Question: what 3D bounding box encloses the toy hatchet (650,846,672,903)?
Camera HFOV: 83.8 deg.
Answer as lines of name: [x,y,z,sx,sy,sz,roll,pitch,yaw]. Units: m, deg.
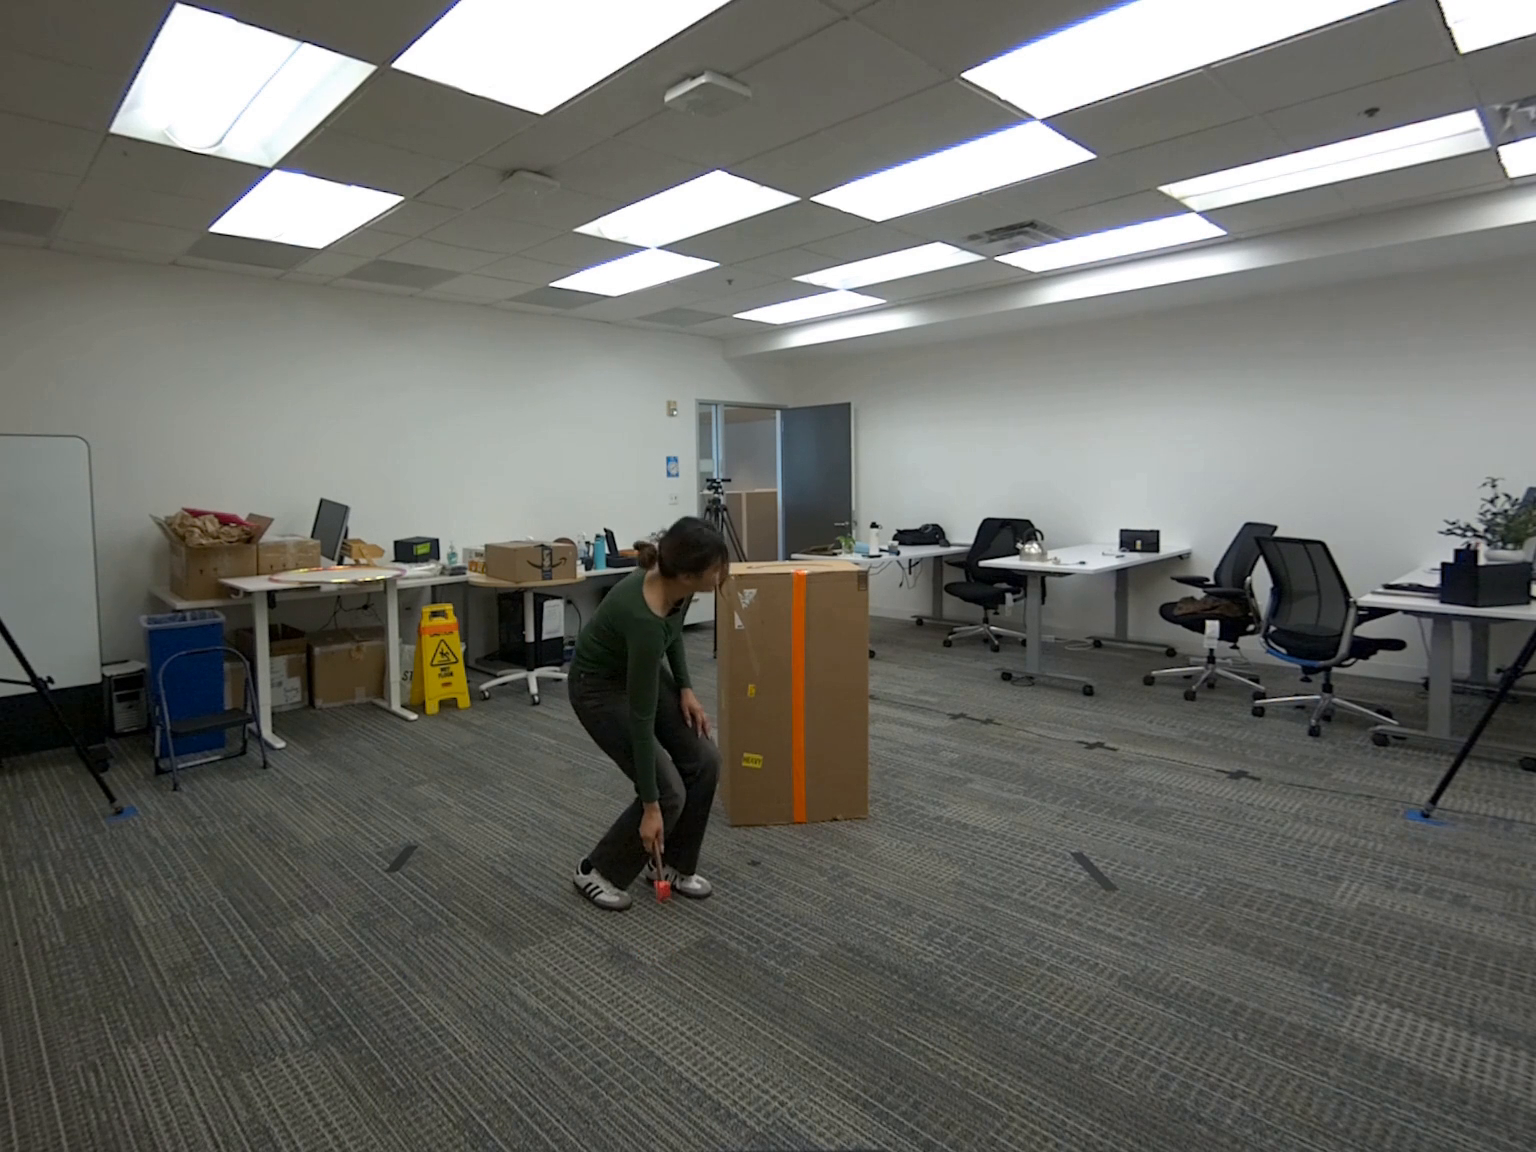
toy hatchet: [-0.333,0.879,2.589,0.029,0.128,0.279,-5,29,-14]
